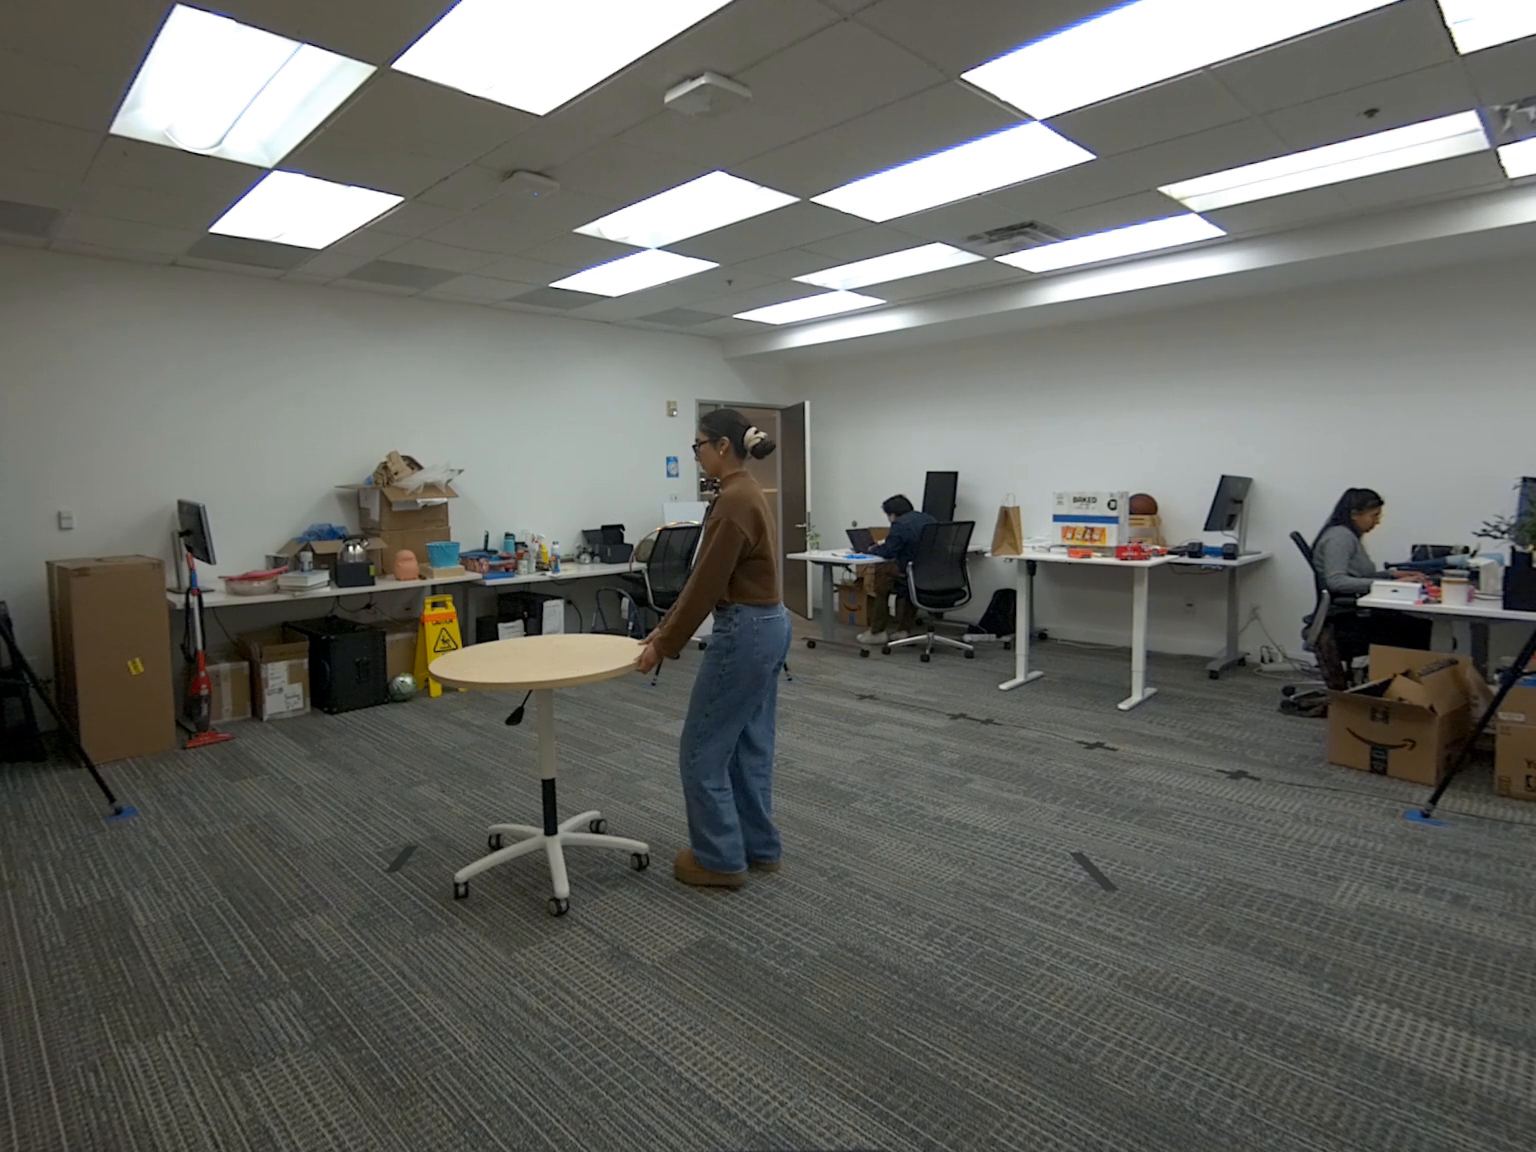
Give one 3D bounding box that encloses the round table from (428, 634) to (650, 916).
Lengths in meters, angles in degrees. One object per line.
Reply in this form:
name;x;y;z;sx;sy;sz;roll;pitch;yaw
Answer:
round table;-0.764;0.665;3.062;0.785;0.783;0.789;-2;5;-1
